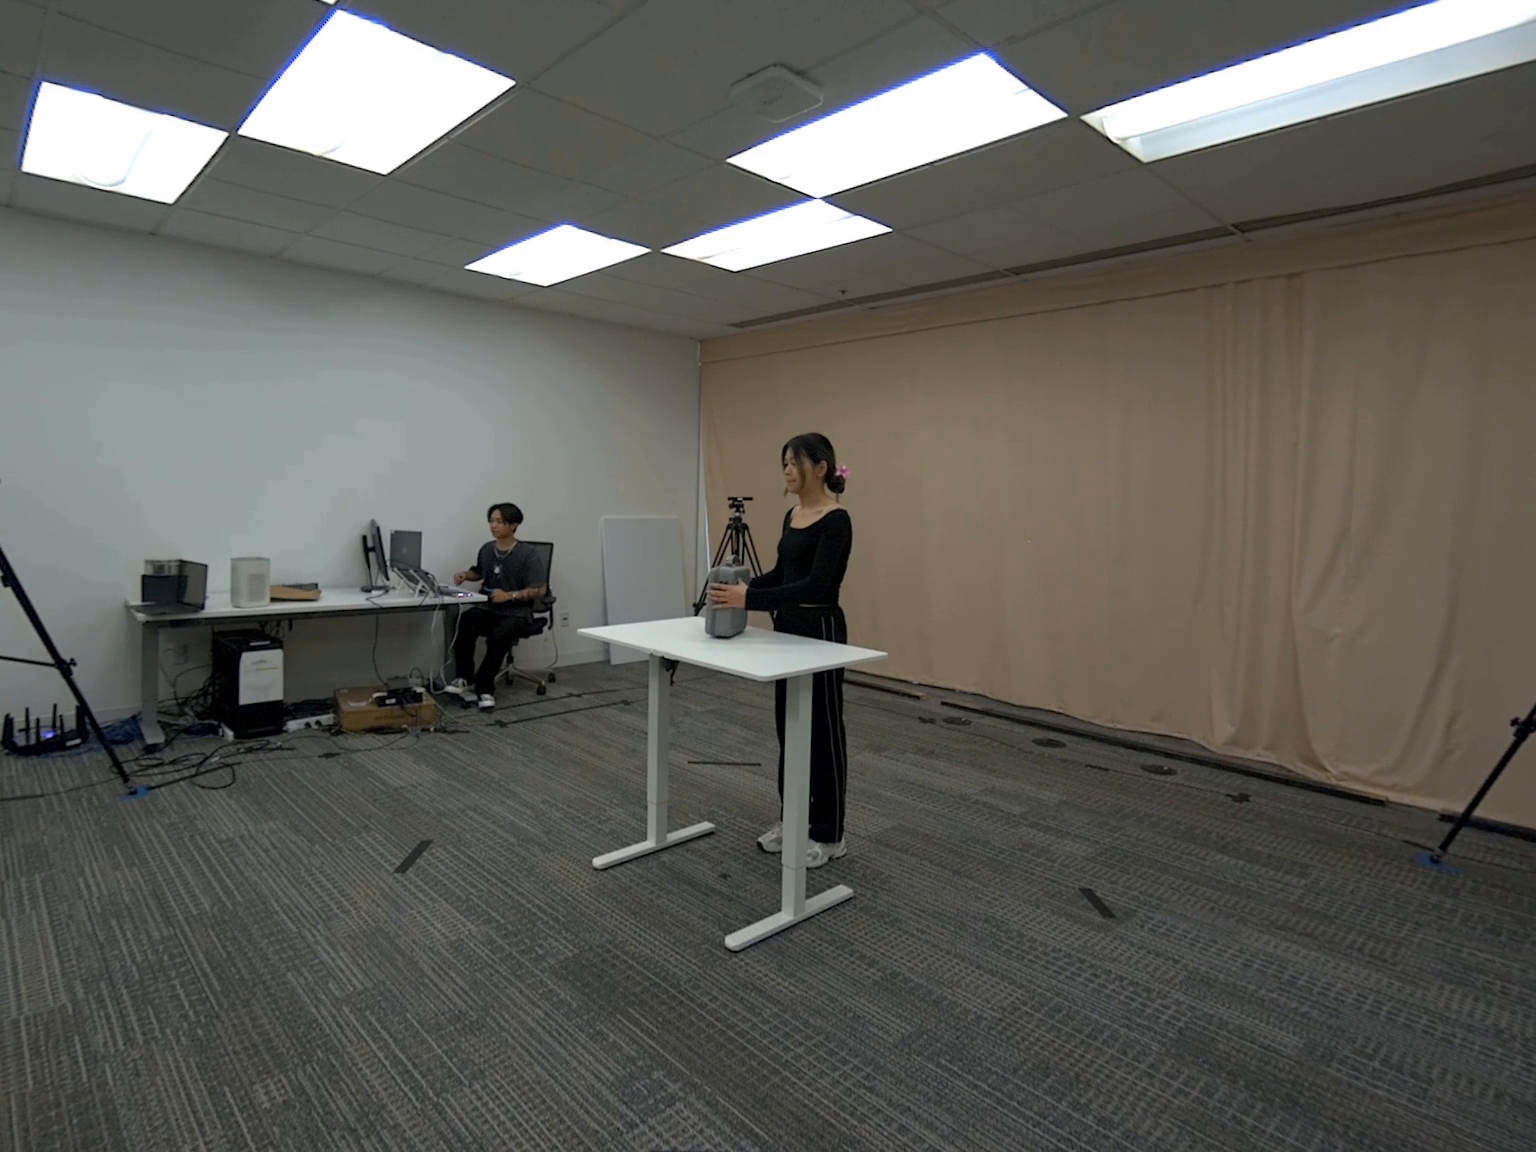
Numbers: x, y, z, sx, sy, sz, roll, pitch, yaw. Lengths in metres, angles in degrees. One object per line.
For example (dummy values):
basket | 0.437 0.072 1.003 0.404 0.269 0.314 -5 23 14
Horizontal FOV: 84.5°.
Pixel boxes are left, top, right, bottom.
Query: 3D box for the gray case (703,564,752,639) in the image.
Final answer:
gray case | -0.152 0.089 3.139 0.106 0.260 0.254 3 3 15
